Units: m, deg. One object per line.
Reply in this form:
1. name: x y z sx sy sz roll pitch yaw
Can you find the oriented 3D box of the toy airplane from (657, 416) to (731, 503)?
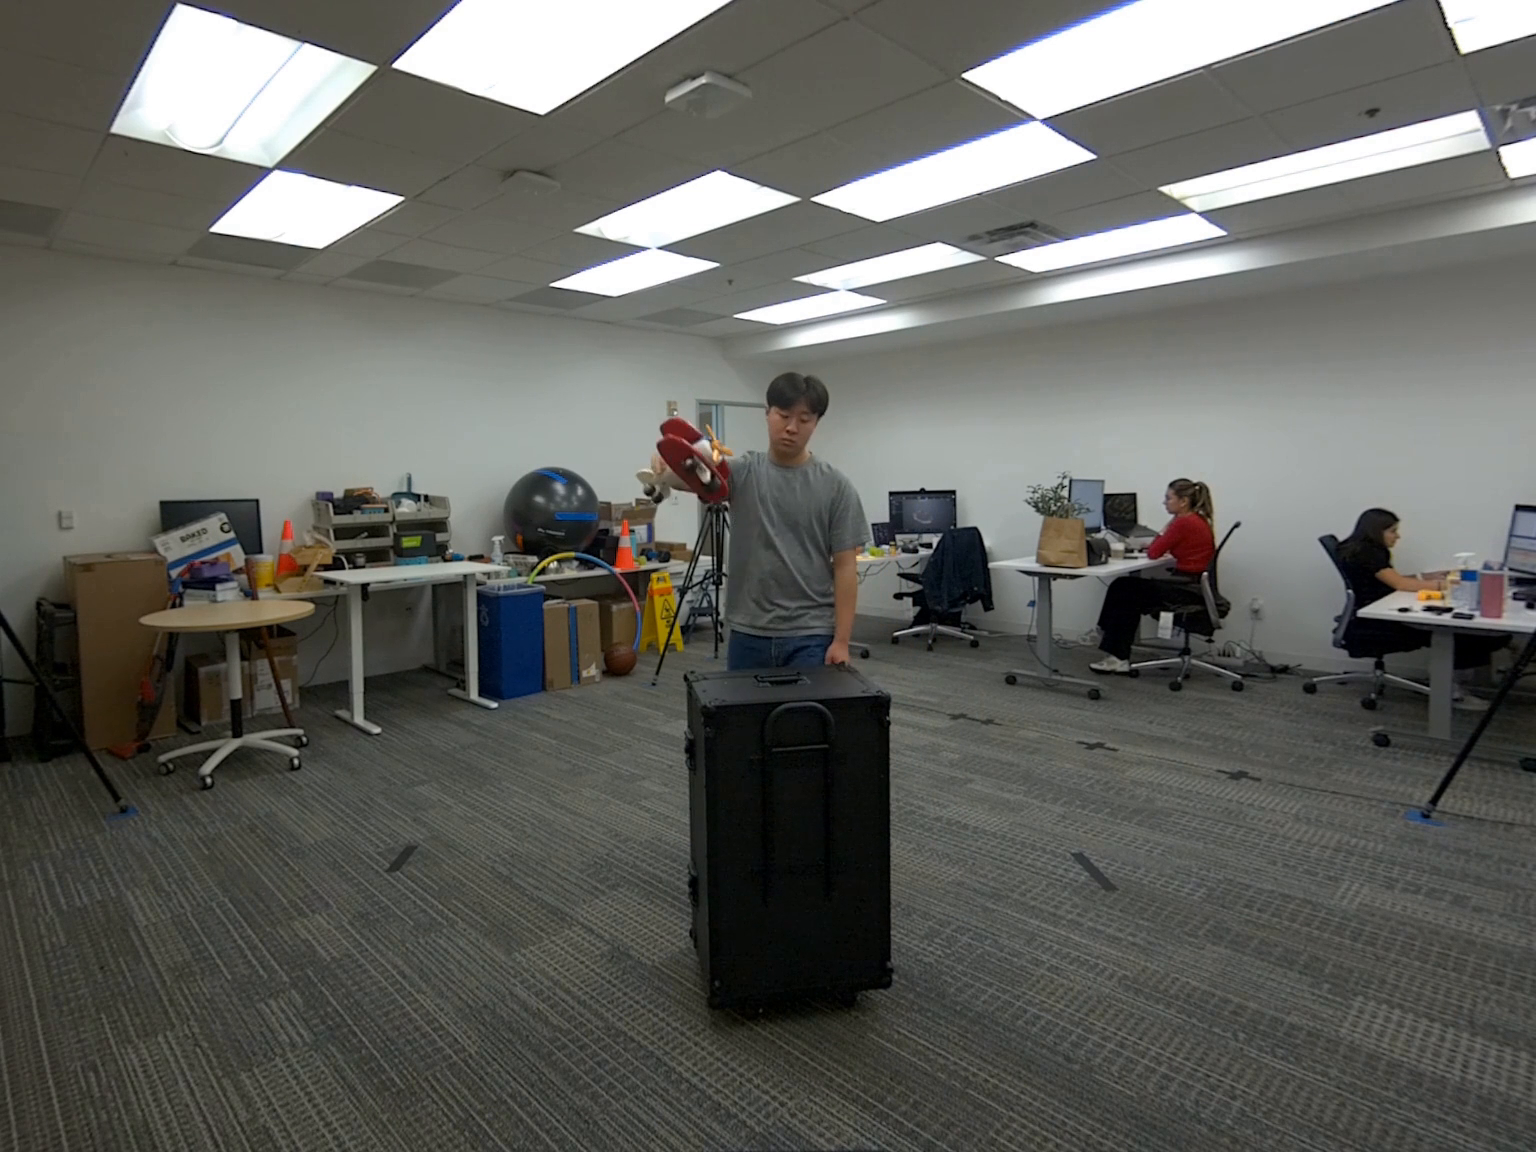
1. toy airplane: -0.230 -0.292 2.349 0.264 0.159 0.242 6 -37 18
